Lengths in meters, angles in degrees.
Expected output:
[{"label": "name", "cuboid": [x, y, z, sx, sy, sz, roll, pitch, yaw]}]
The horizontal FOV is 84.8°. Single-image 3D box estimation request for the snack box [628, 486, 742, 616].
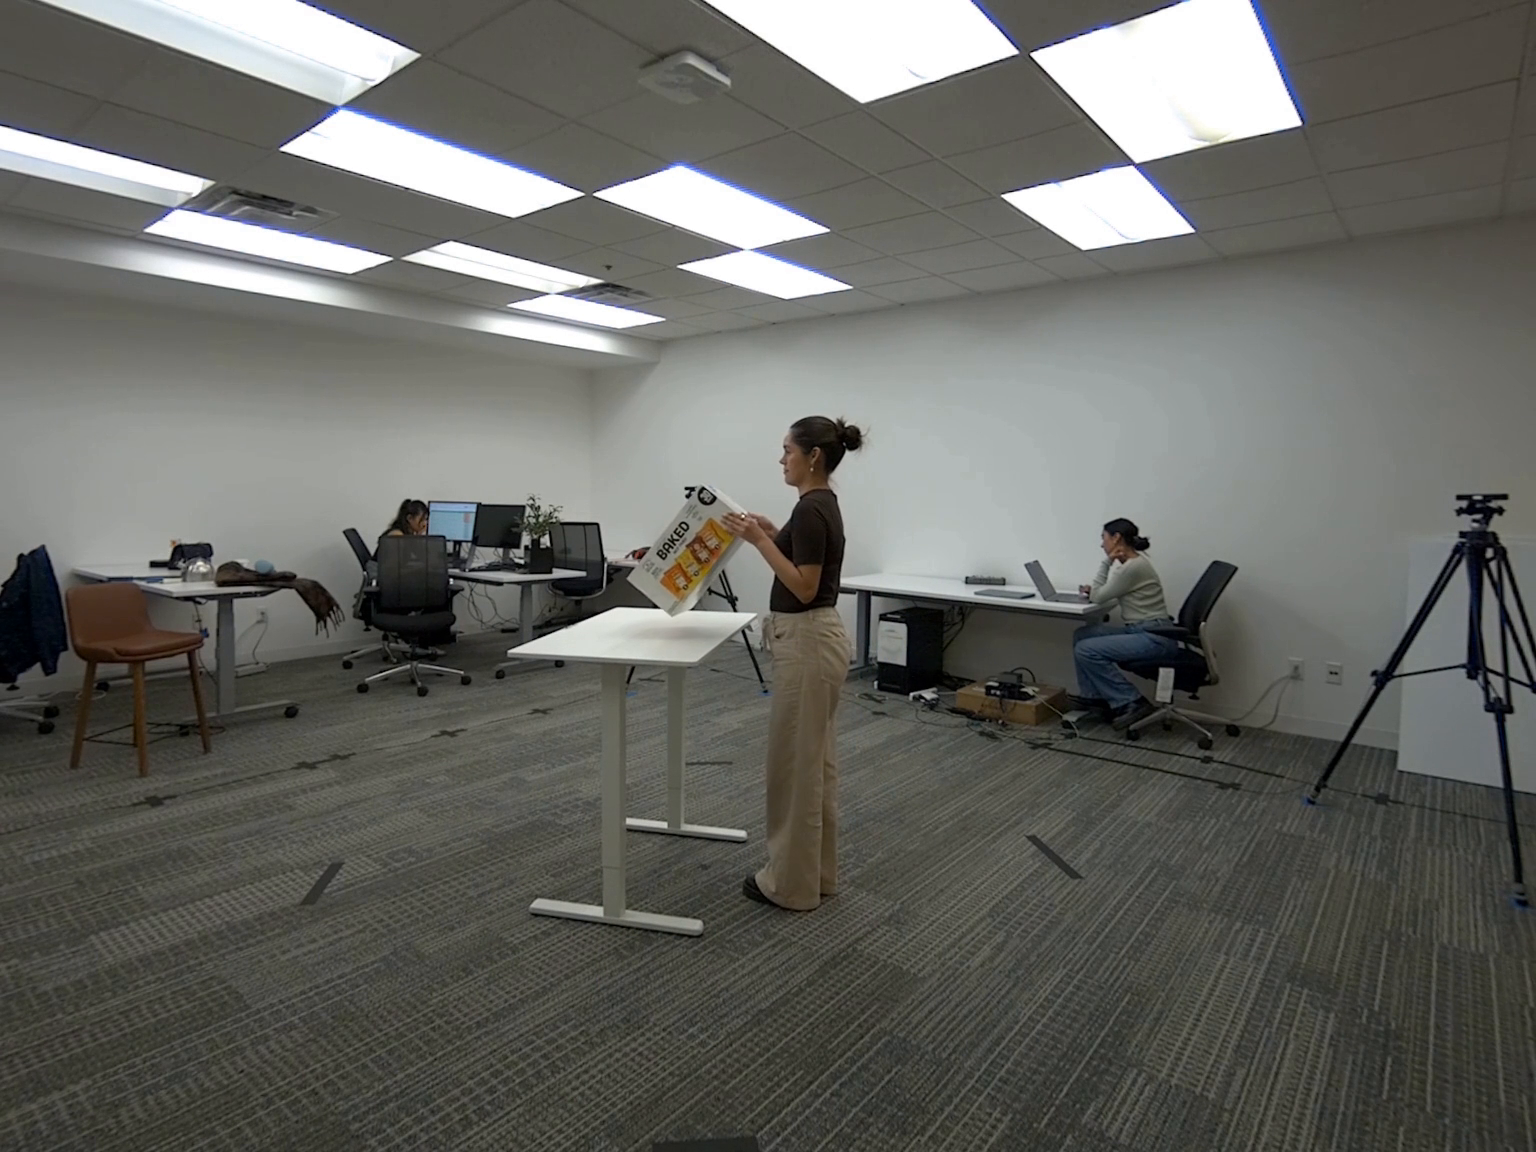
[{"label": "snack box", "cuboid": [-0.257, -0.093, 2.970, 0.208, 0.405, 0.337, 39, 6, 4]}]
